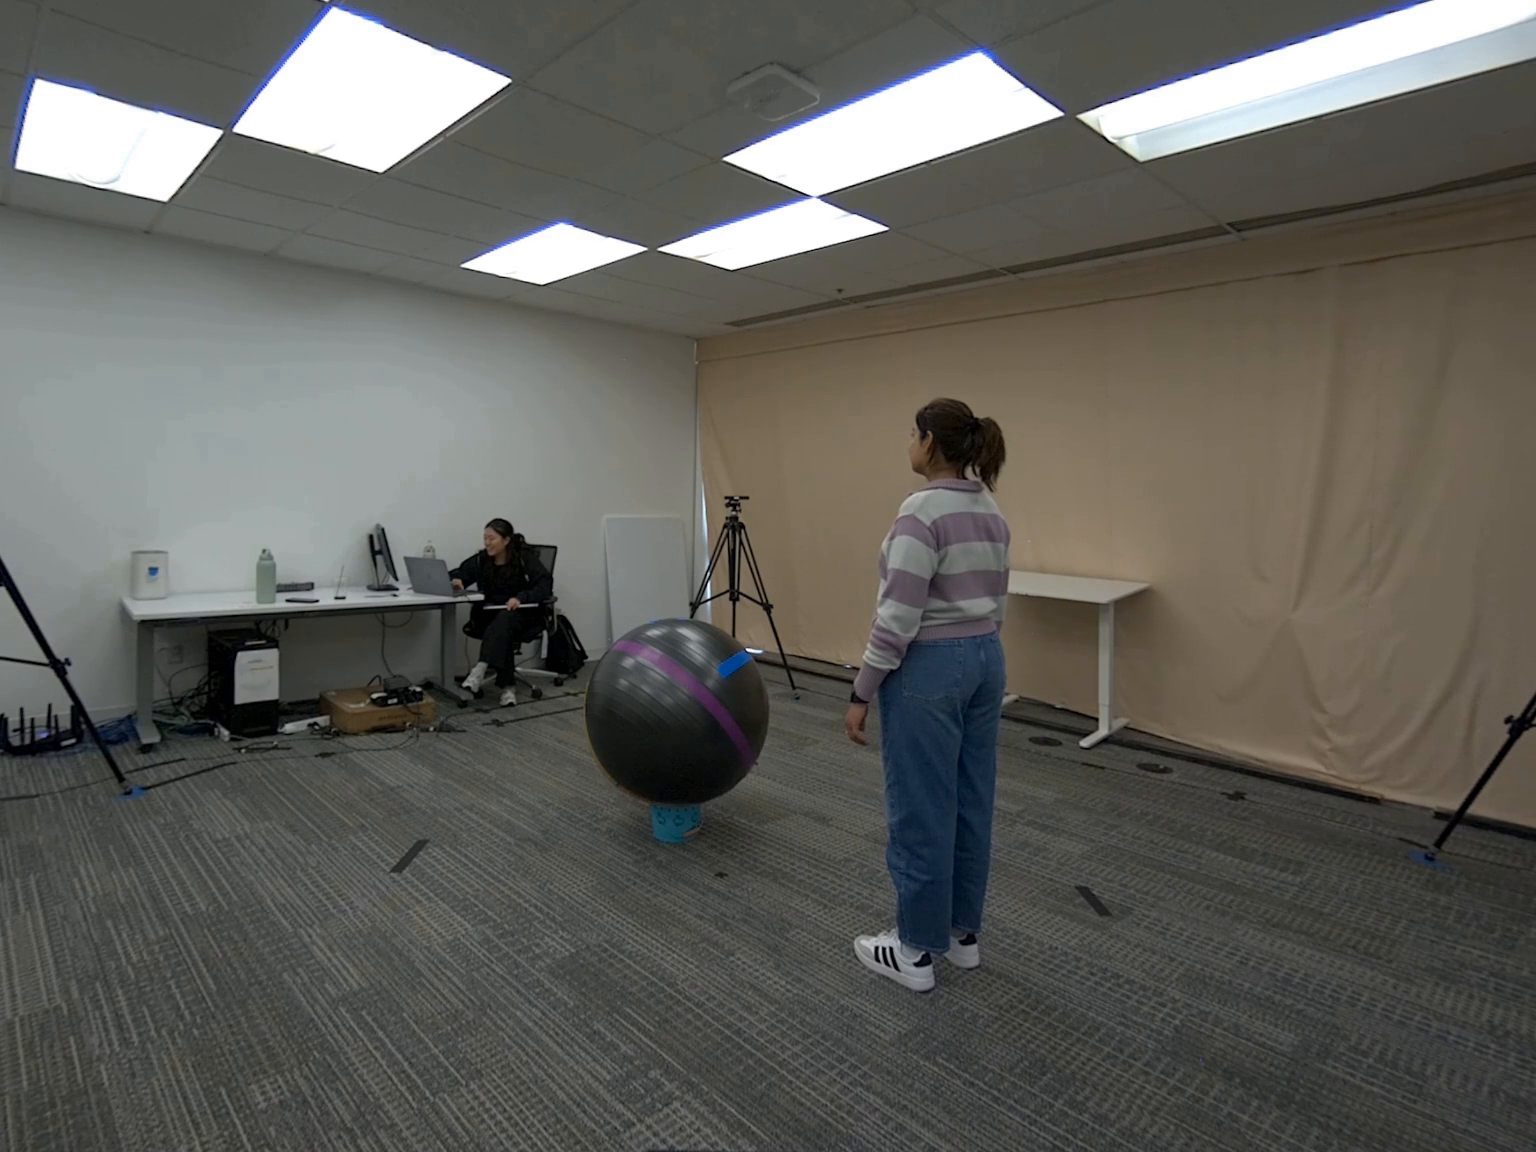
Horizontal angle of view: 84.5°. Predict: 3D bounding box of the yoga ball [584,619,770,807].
[{"bbox_3d":[-0.378,0.557,3.469,0.757,0.756,0.761,1,4,-1],"label":"yoga ball"}]
